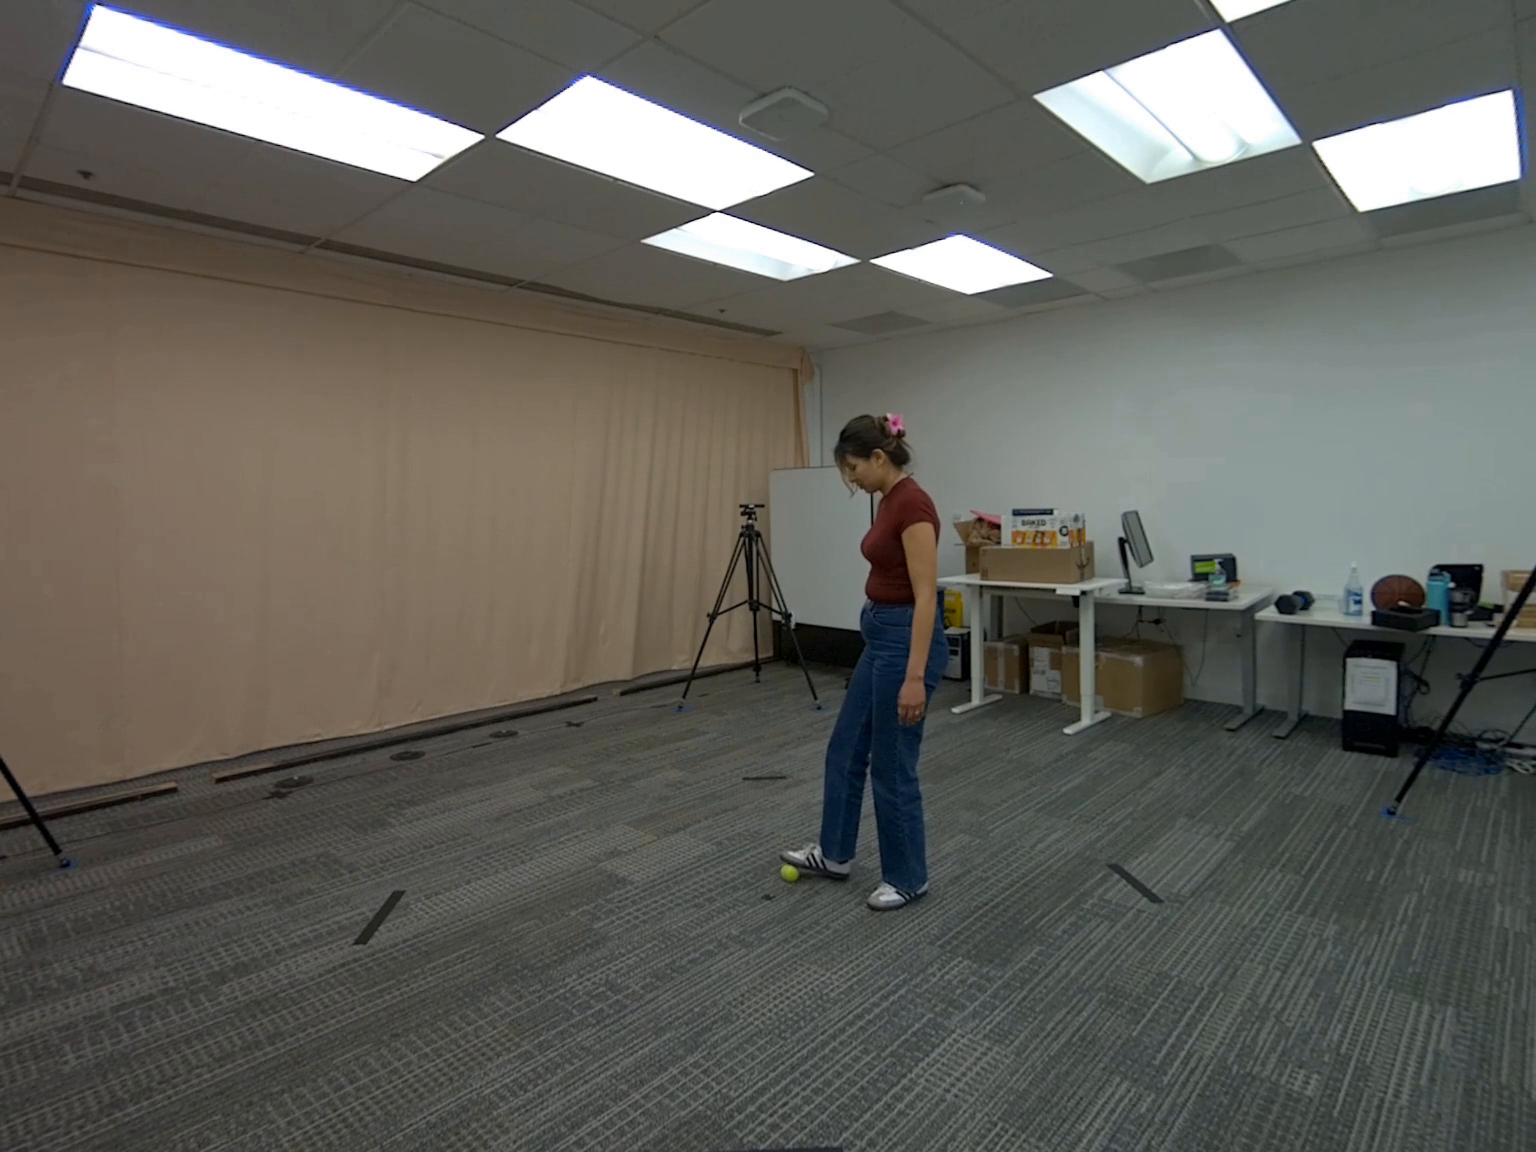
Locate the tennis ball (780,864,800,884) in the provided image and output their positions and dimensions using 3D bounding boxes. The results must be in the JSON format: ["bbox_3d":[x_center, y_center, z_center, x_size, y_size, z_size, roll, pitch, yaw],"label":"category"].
[{"bbox_3d":[0.083,1.091,3.119,0.066,0.066,0.067,-1,4,-2],"label":"tennis ball"}]
